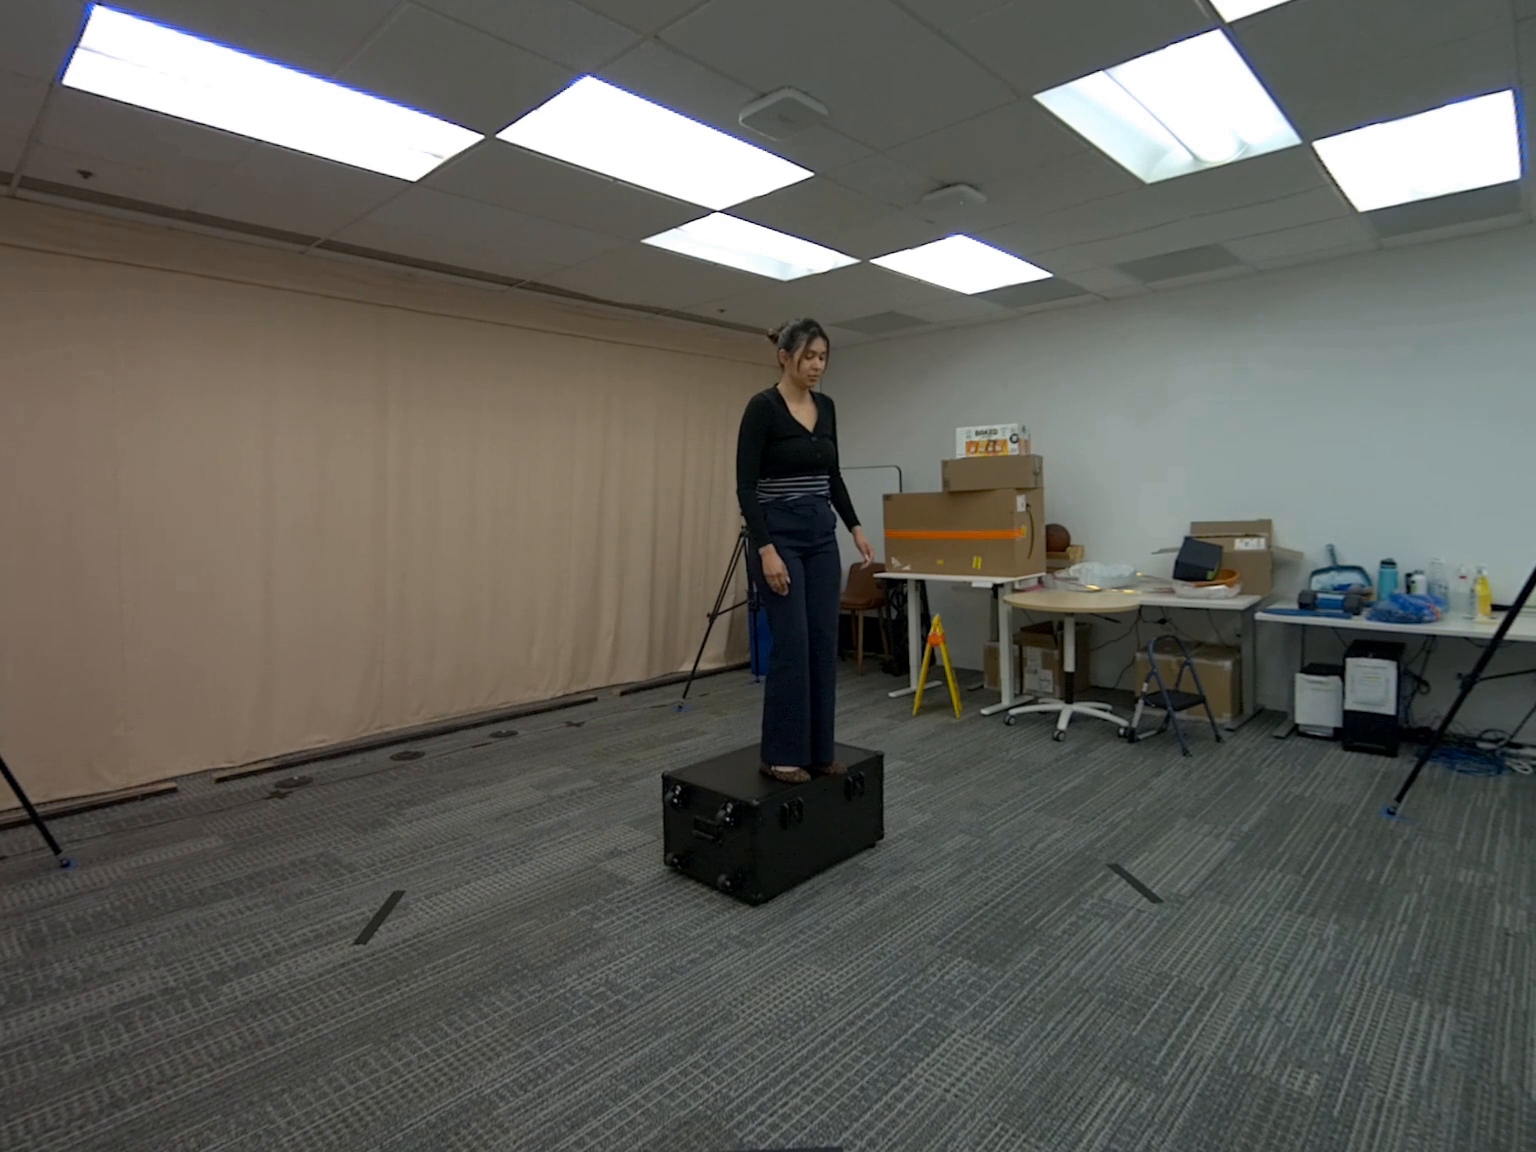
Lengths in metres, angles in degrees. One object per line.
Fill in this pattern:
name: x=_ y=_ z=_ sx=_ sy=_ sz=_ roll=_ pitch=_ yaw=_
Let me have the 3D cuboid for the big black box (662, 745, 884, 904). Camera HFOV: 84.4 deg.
big black box: x=0.060 y=0.918 z=3.334 sx=0.539 sy=0.395 sz=0.836 roll=3 pitch=7 yaw=43
